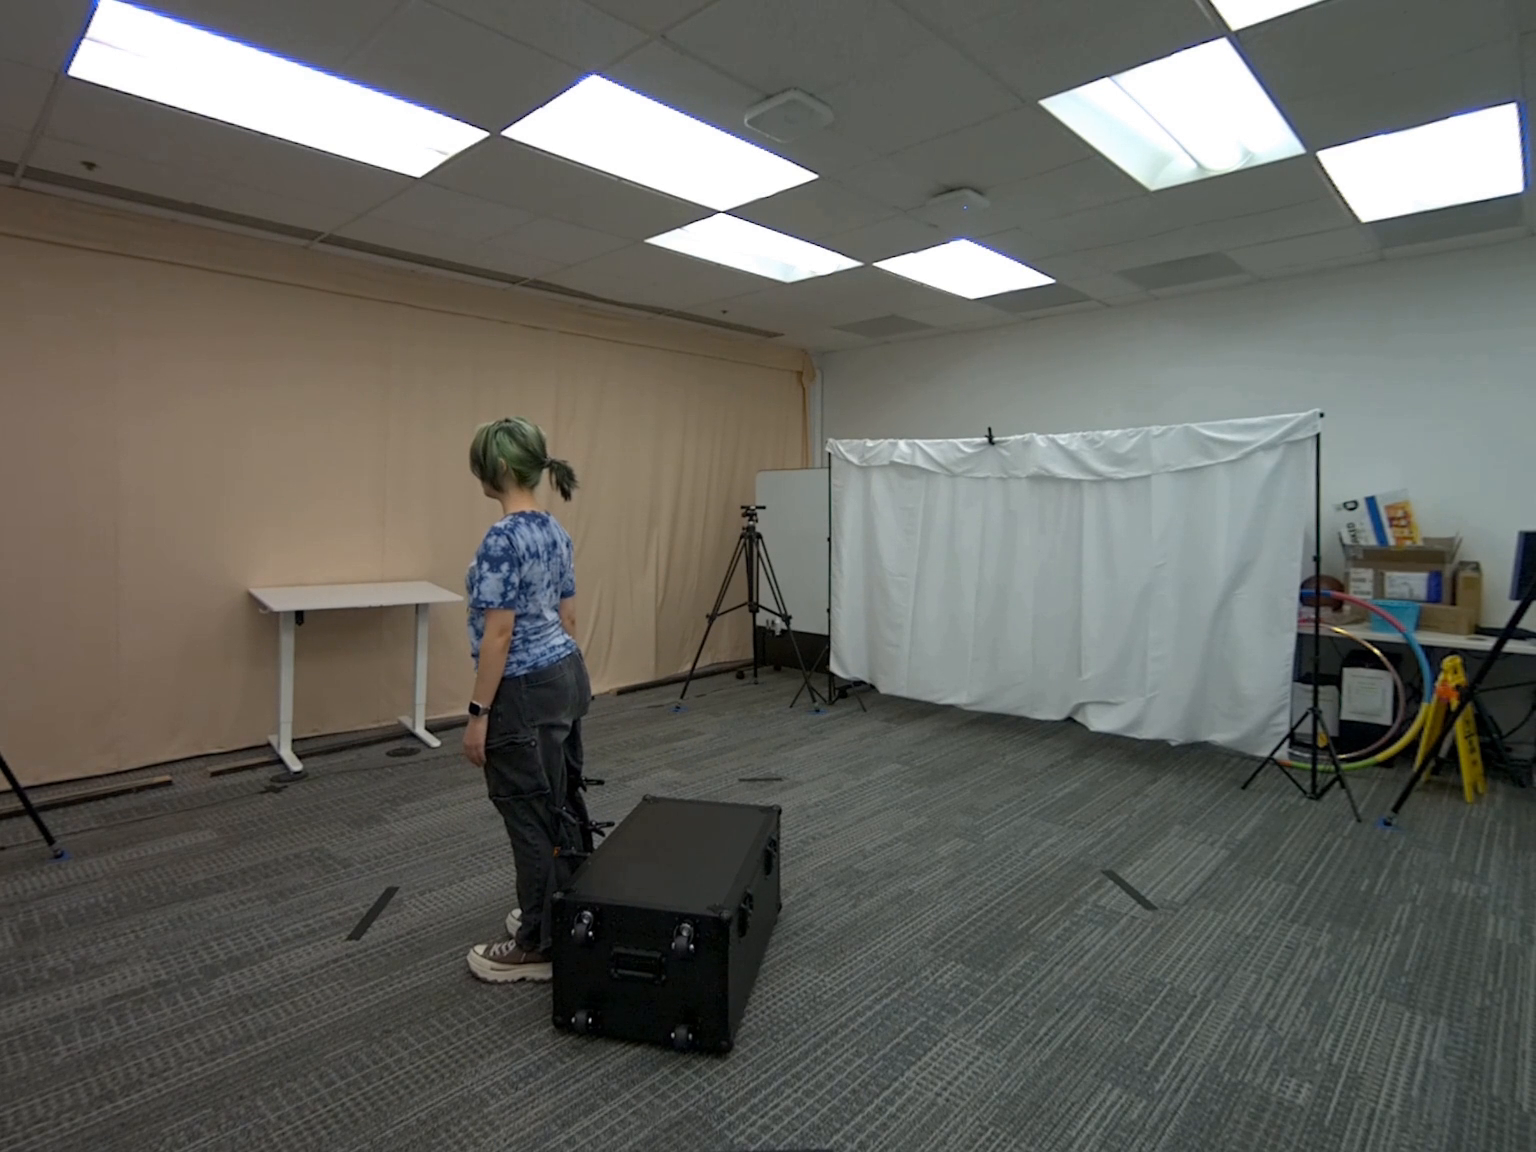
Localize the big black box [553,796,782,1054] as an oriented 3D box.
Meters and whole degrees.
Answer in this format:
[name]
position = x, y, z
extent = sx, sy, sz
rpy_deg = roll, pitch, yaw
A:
[big black box]
position = -0.267, 0.991, 2.497
extent = 0.528, 0.395, 0.851
rpy_deg = 1, 4, 11
